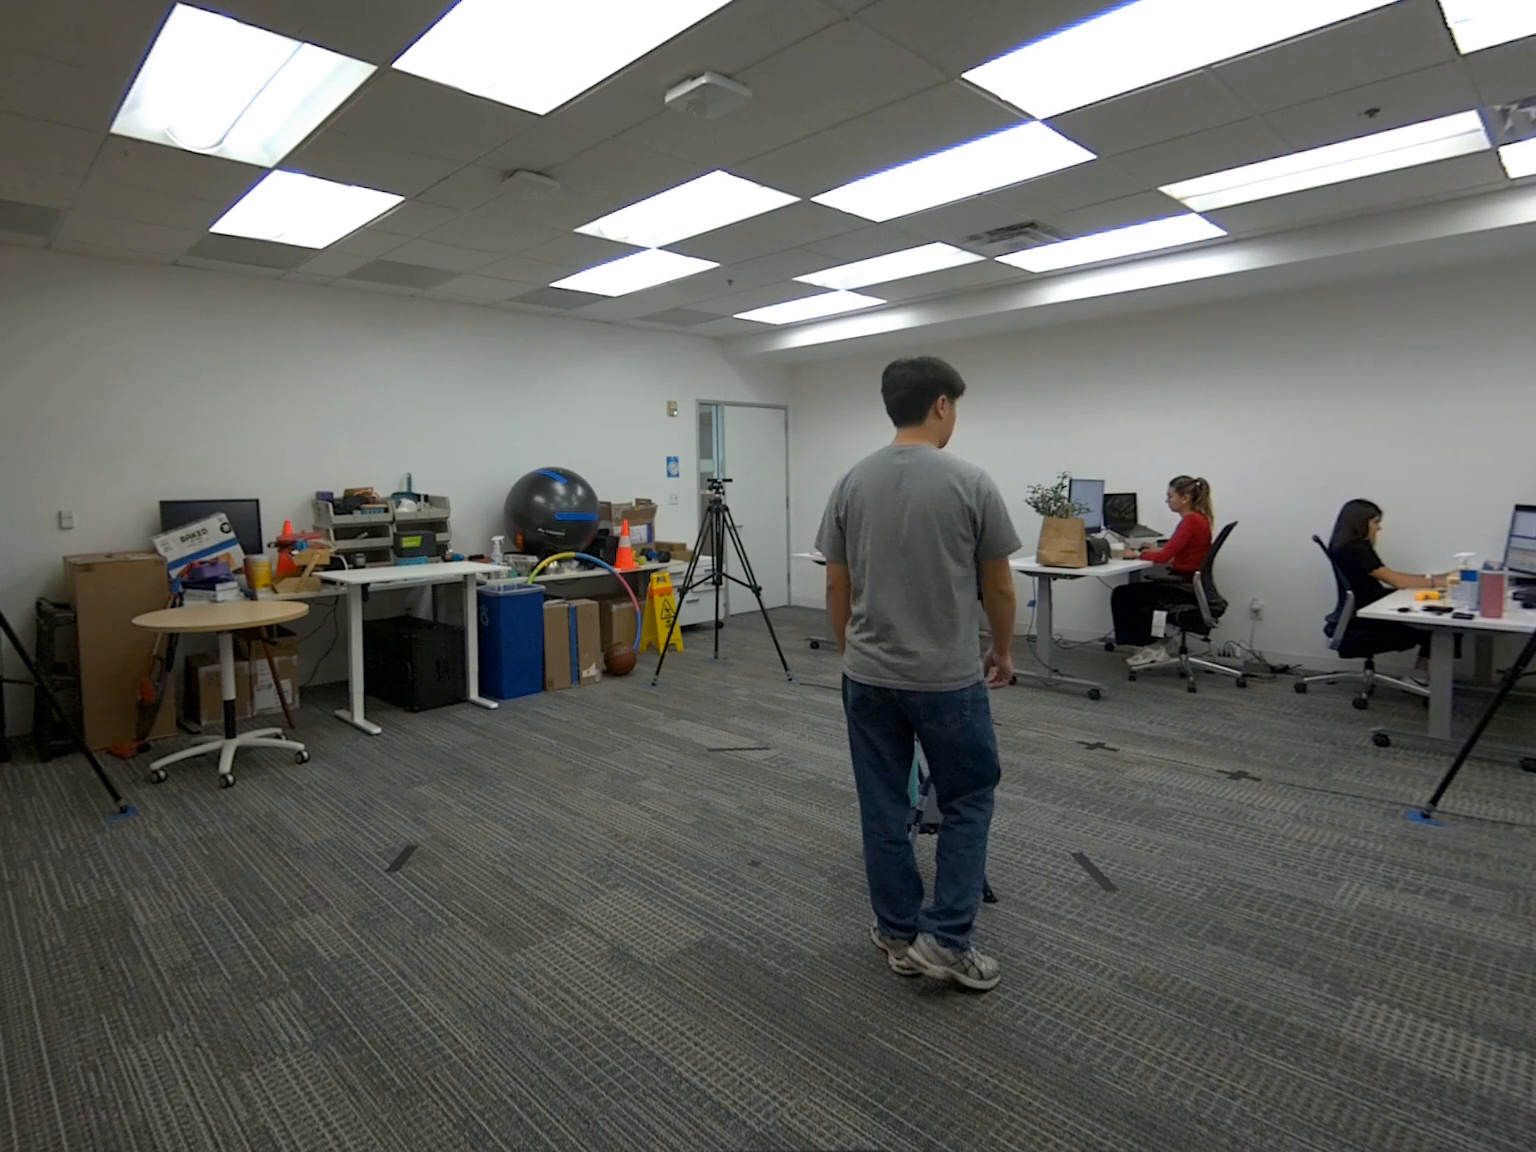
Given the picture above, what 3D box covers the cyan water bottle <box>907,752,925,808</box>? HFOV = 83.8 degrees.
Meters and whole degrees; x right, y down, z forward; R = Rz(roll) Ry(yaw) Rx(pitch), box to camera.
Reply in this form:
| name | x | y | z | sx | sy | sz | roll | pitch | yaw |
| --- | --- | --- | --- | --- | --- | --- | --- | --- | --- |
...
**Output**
| name | x | y | z | sx | sy | sz | roll | pitch | yaw |
| --- | --- | --- | --- | --- | --- | --- | --- | --- | --- |
| cyan water bottle | 0.490 | 0.655 | 2.947 | 0.092 | 0.283 | 0.092 | 0 | 2 | -2 |
